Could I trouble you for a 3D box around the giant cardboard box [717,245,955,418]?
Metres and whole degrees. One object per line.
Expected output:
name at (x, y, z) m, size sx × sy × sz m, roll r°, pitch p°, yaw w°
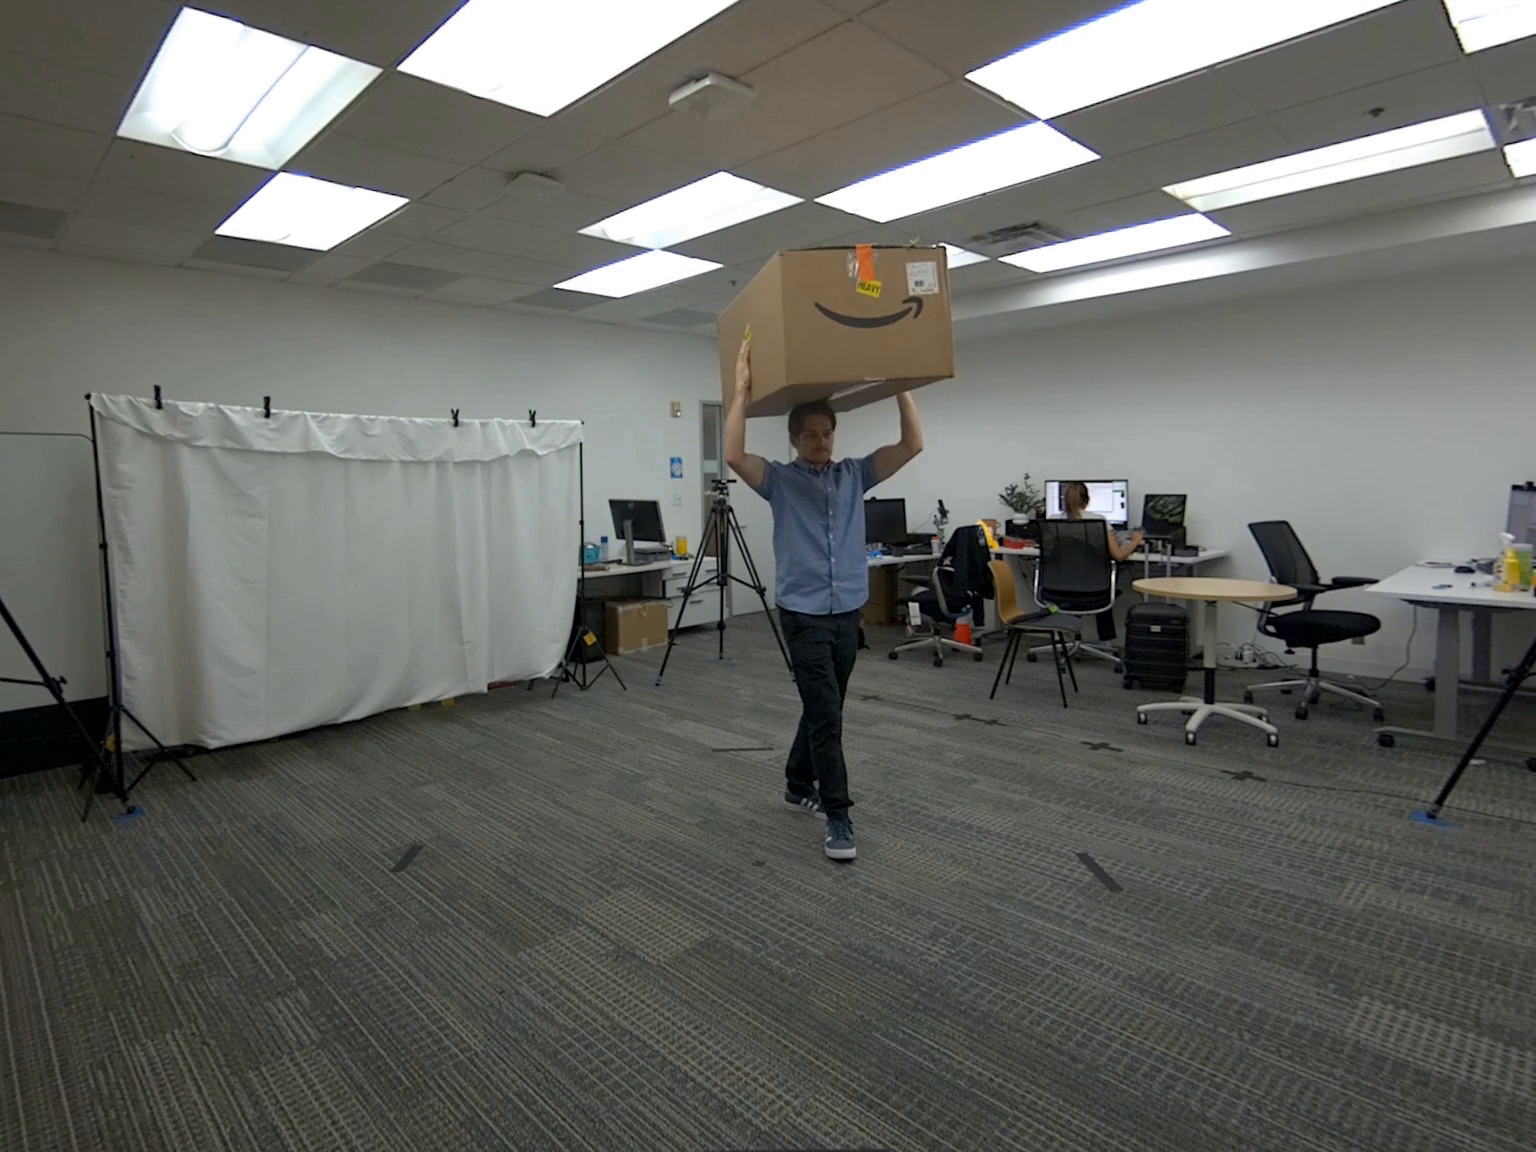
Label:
giant cardboard box at (0.191, -0.875, 3.216) m, size 0.571 × 0.424 × 1.041 m, roll -6°, pitch 5°, yaw -13°
